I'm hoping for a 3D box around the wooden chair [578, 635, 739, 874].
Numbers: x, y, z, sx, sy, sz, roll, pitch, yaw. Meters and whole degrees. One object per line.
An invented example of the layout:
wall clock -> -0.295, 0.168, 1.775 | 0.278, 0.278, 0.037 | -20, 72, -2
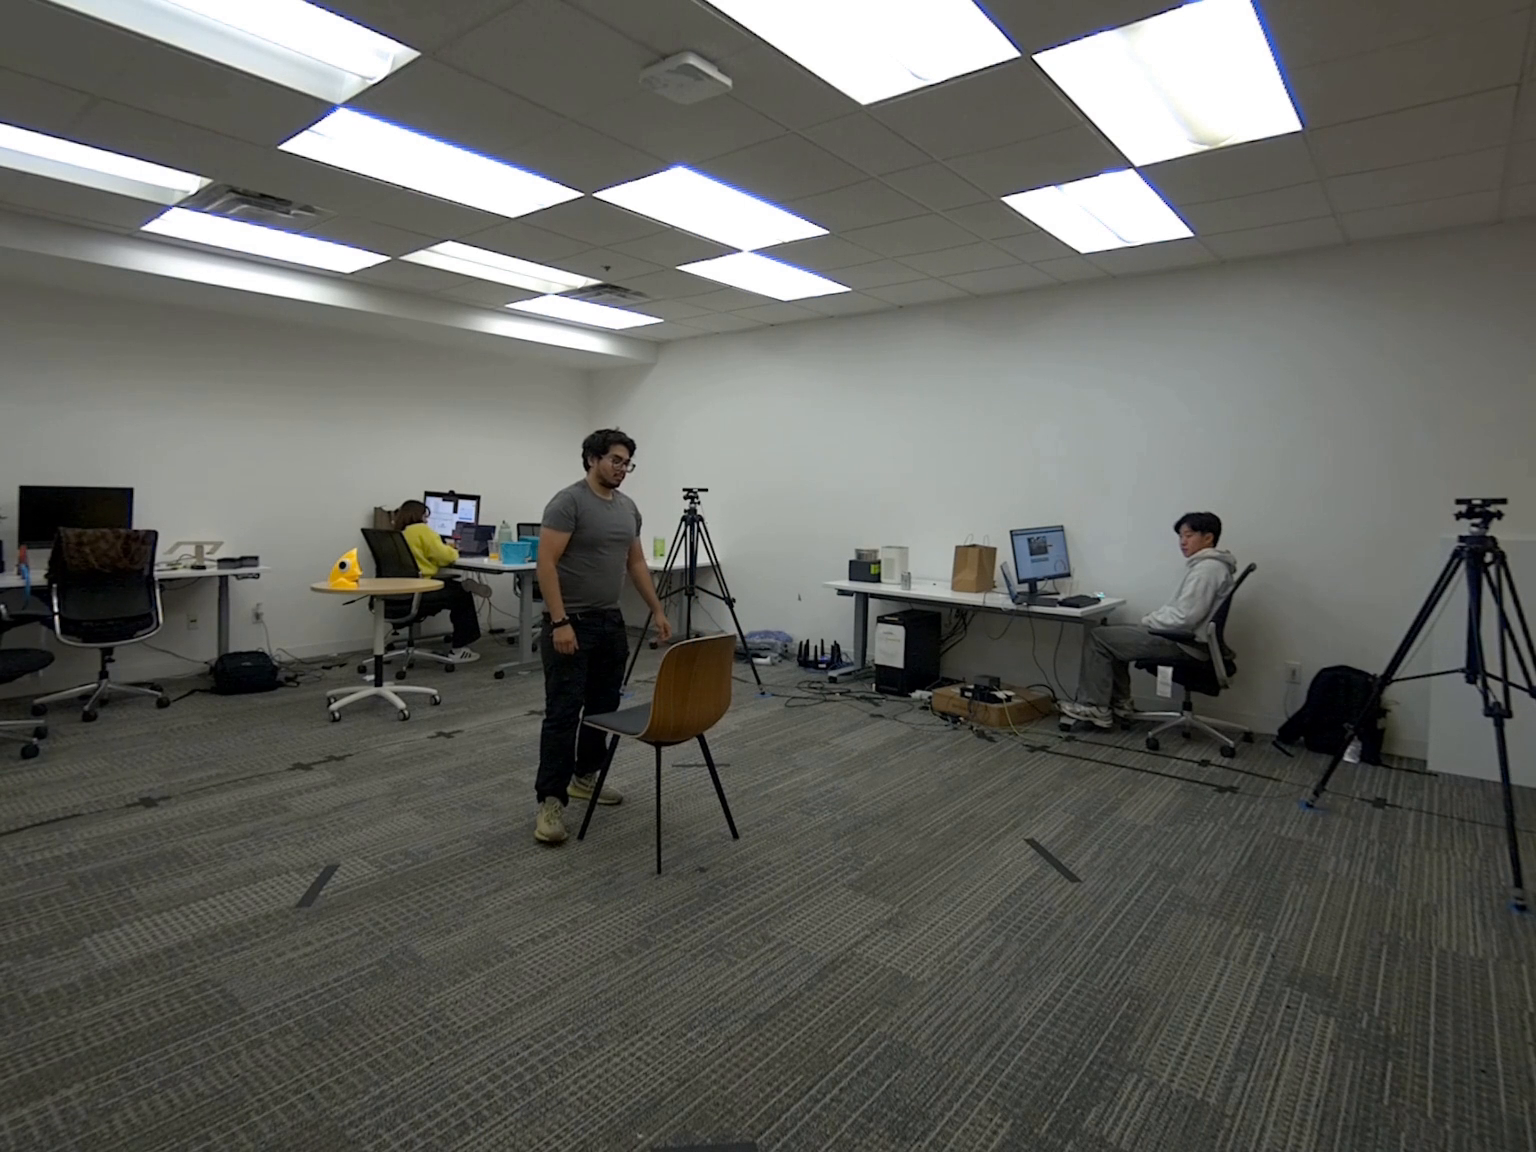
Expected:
wooden chair -> -0.438, 0.618, 3.350 | 0.542, 0.873, 0.464 | 9, 7, 39
